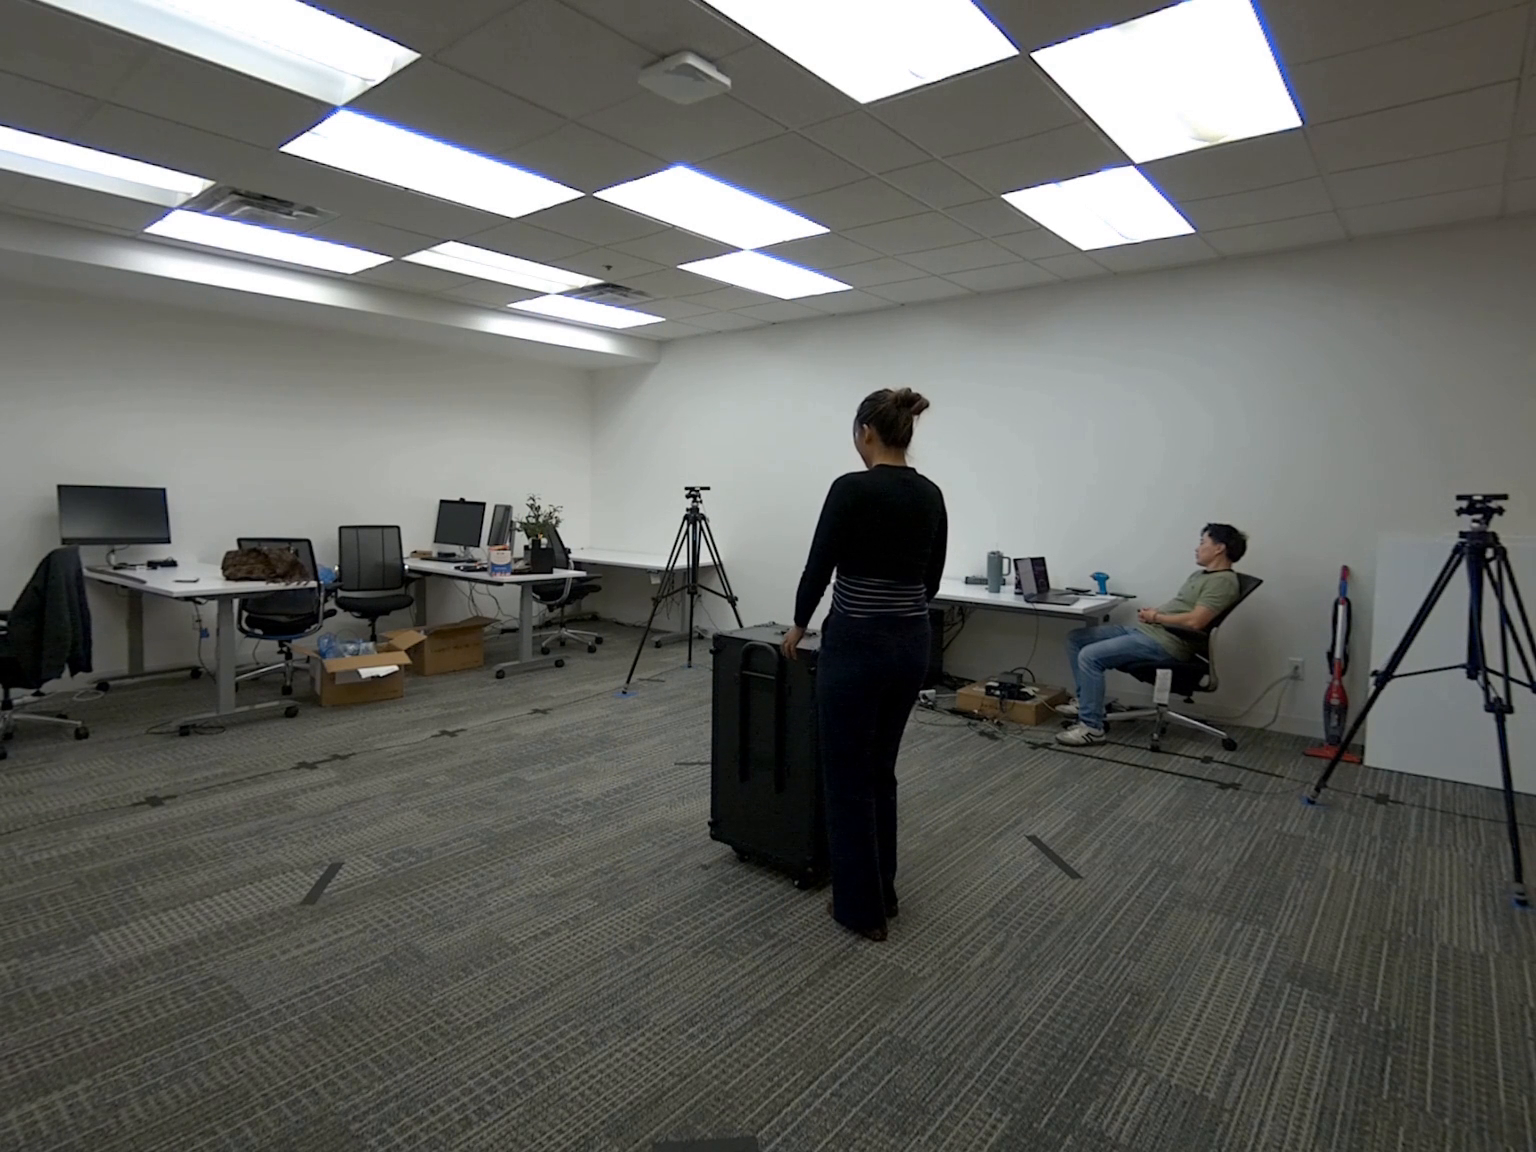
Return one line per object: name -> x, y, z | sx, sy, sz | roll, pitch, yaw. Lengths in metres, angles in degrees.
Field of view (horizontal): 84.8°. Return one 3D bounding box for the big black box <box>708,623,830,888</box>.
big black box -> 0.061, 0.587, 3.151 | 0.539, 0.858, 0.384 | 5, 5, 40
